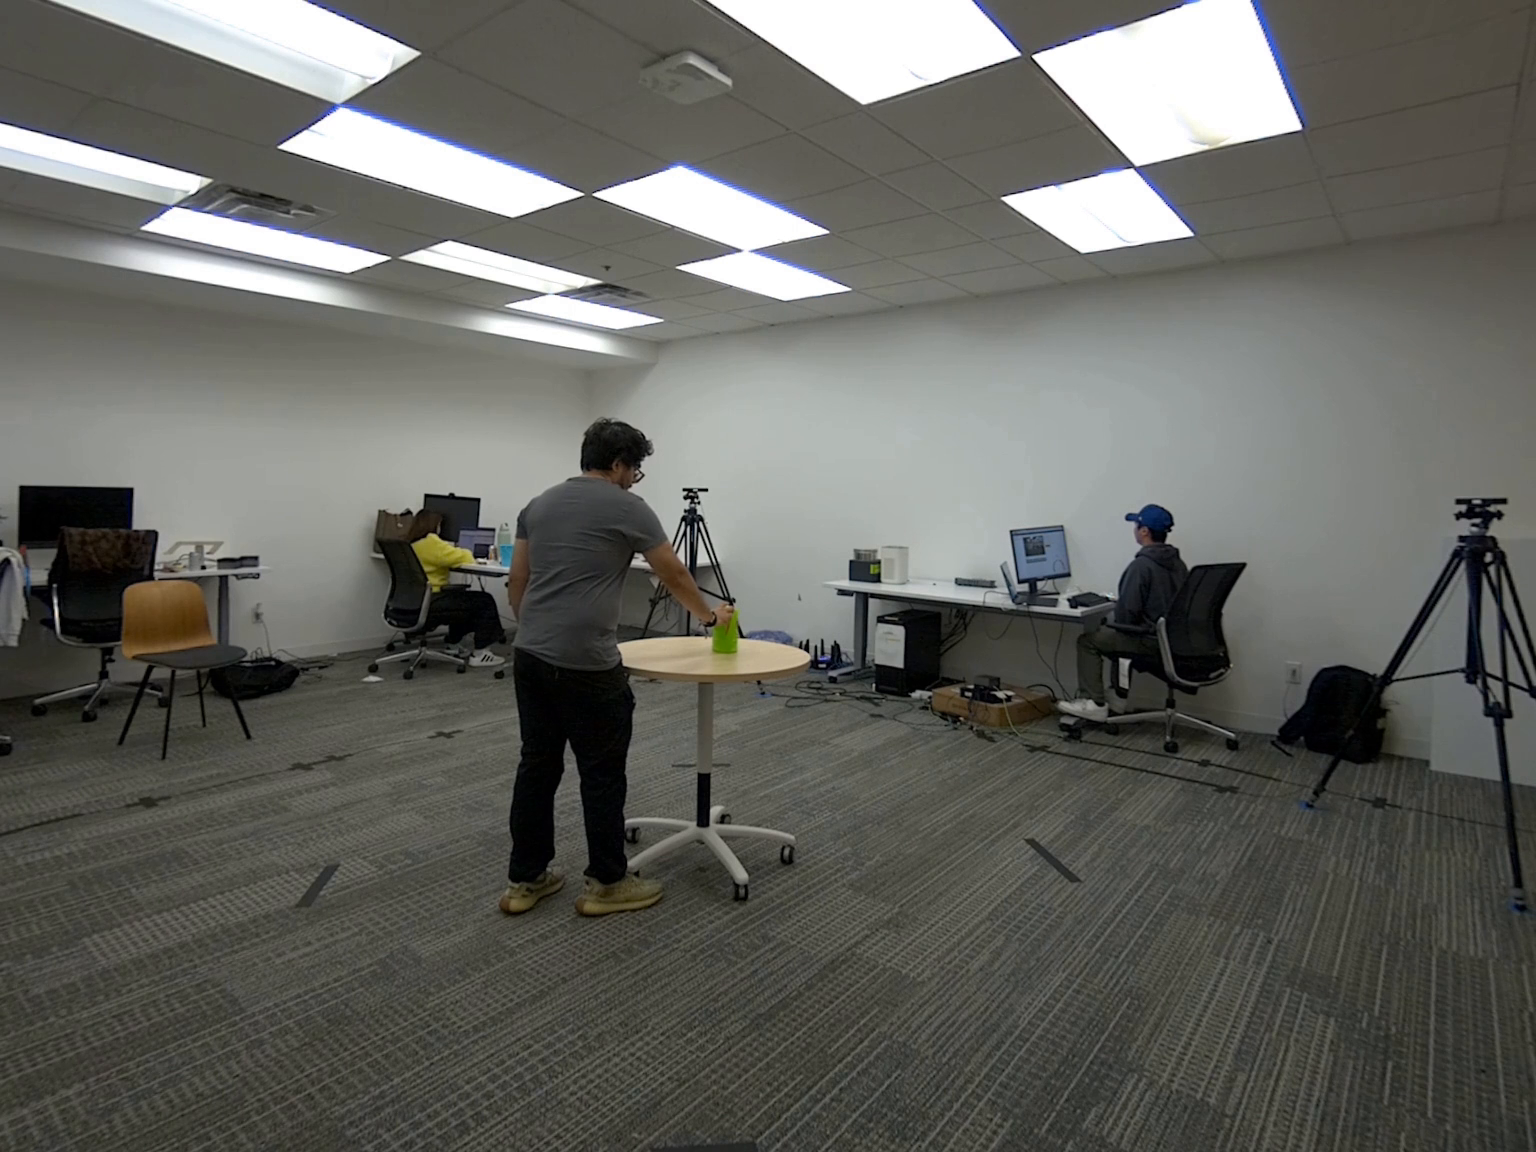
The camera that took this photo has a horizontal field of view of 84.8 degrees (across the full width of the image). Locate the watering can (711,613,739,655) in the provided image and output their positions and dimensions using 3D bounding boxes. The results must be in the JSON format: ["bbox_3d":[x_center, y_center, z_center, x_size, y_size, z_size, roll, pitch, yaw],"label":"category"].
[{"bbox_3d":[-0.163,0.199,3.171,0.097,0.177,0.280,2,1,-6],"label":"watering can"}]
